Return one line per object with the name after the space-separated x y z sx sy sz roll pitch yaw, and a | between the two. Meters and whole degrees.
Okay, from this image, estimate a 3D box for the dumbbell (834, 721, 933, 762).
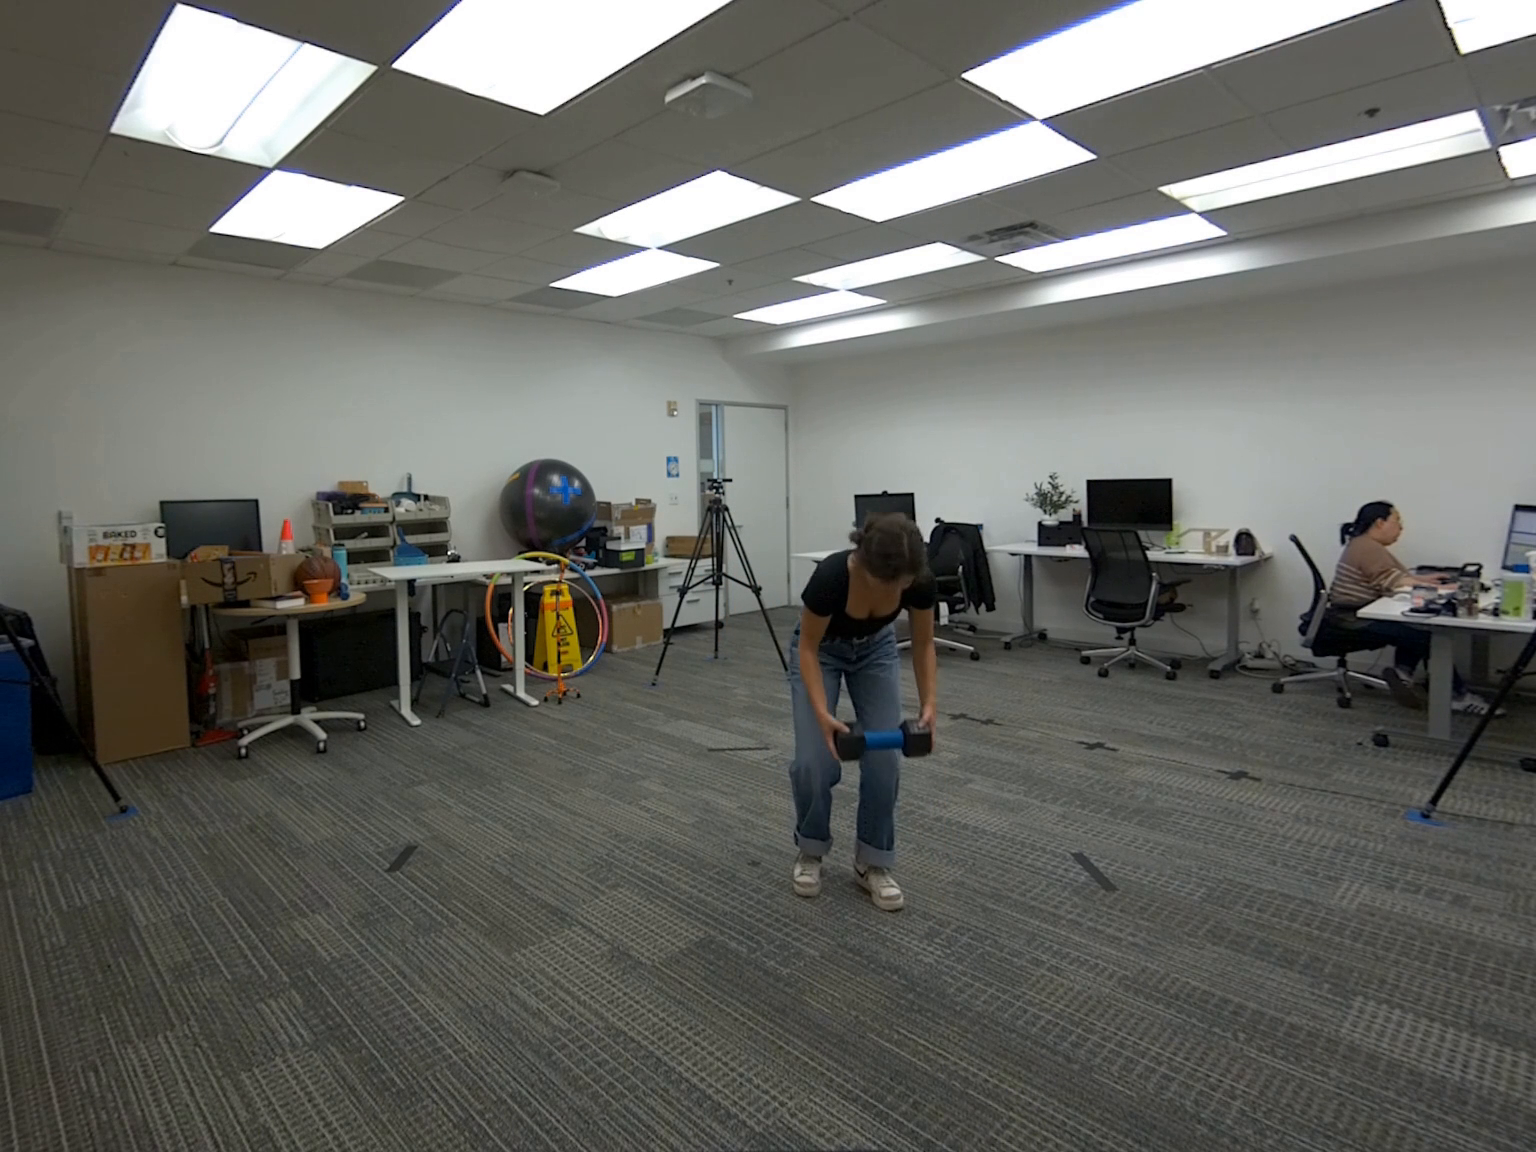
0.349 0.507 2.647 0.292 0.122 0.109 -2 4 -5 | dumbbell
